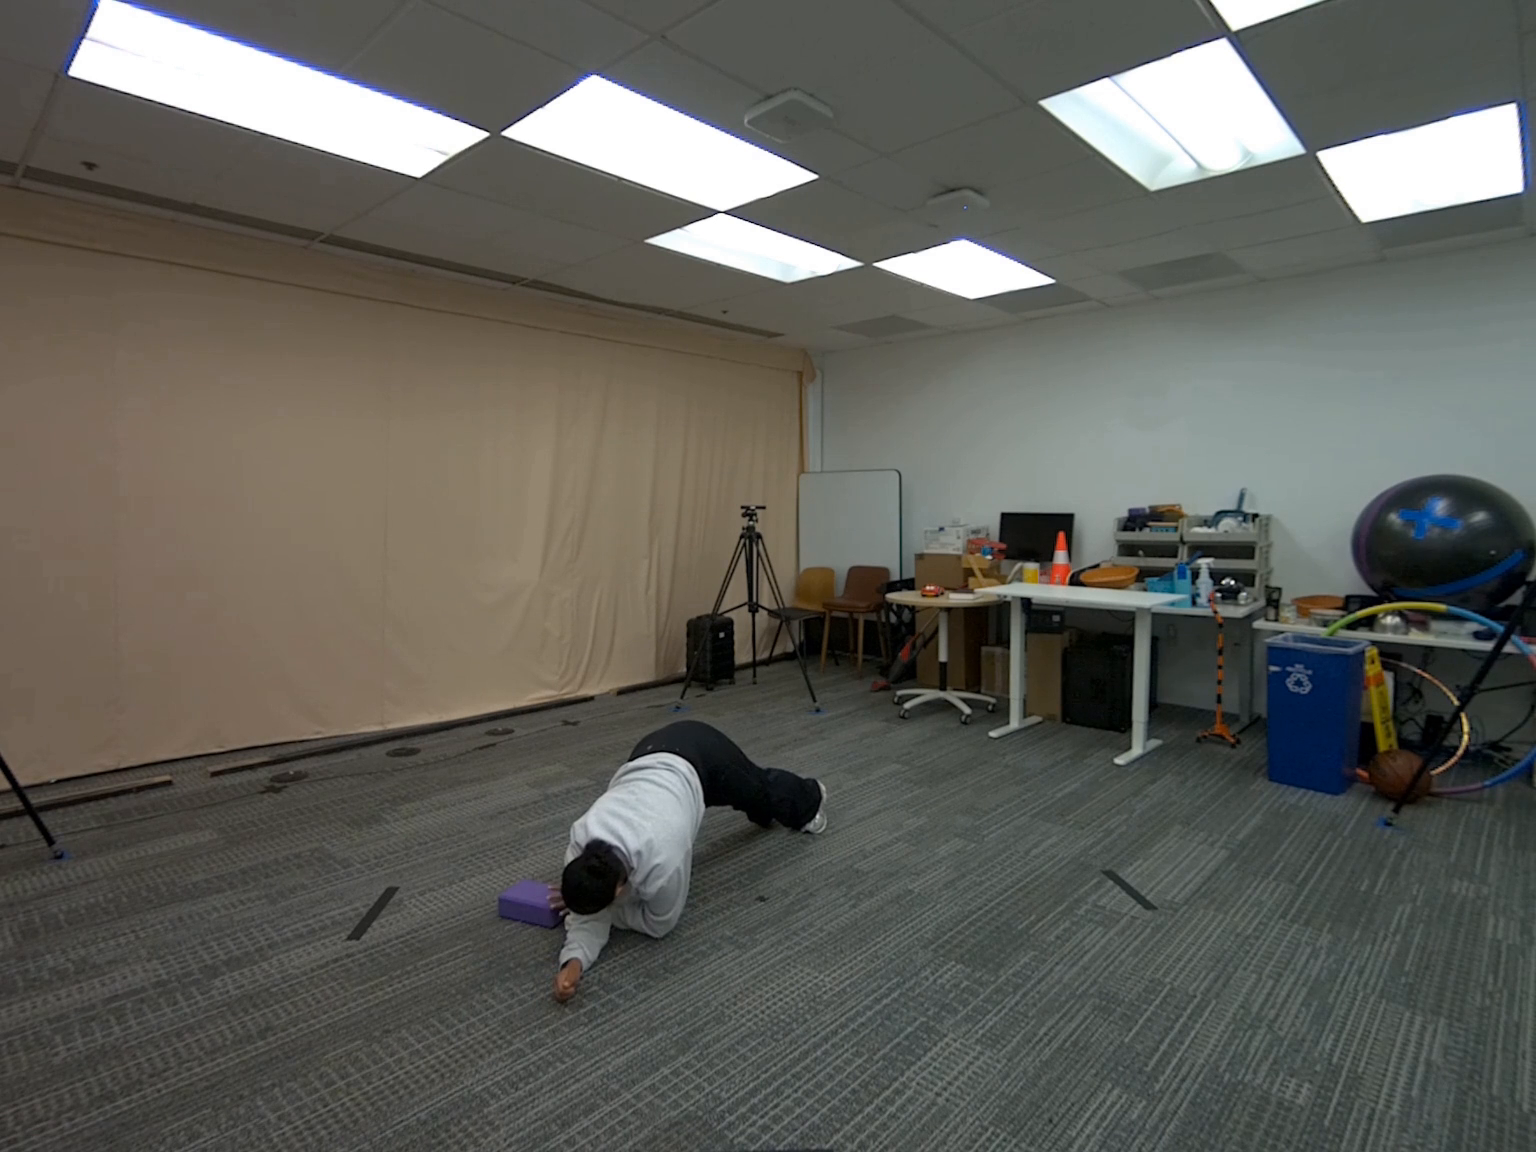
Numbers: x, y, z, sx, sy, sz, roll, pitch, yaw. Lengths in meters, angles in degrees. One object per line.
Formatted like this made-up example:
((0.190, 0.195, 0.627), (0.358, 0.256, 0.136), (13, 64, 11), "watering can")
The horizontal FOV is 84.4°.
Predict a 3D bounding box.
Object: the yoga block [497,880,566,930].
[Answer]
((-0.791, 1.122, 2.880), (0.235, 0.076, 0.146), (1, 5, 23), "yoga block")
